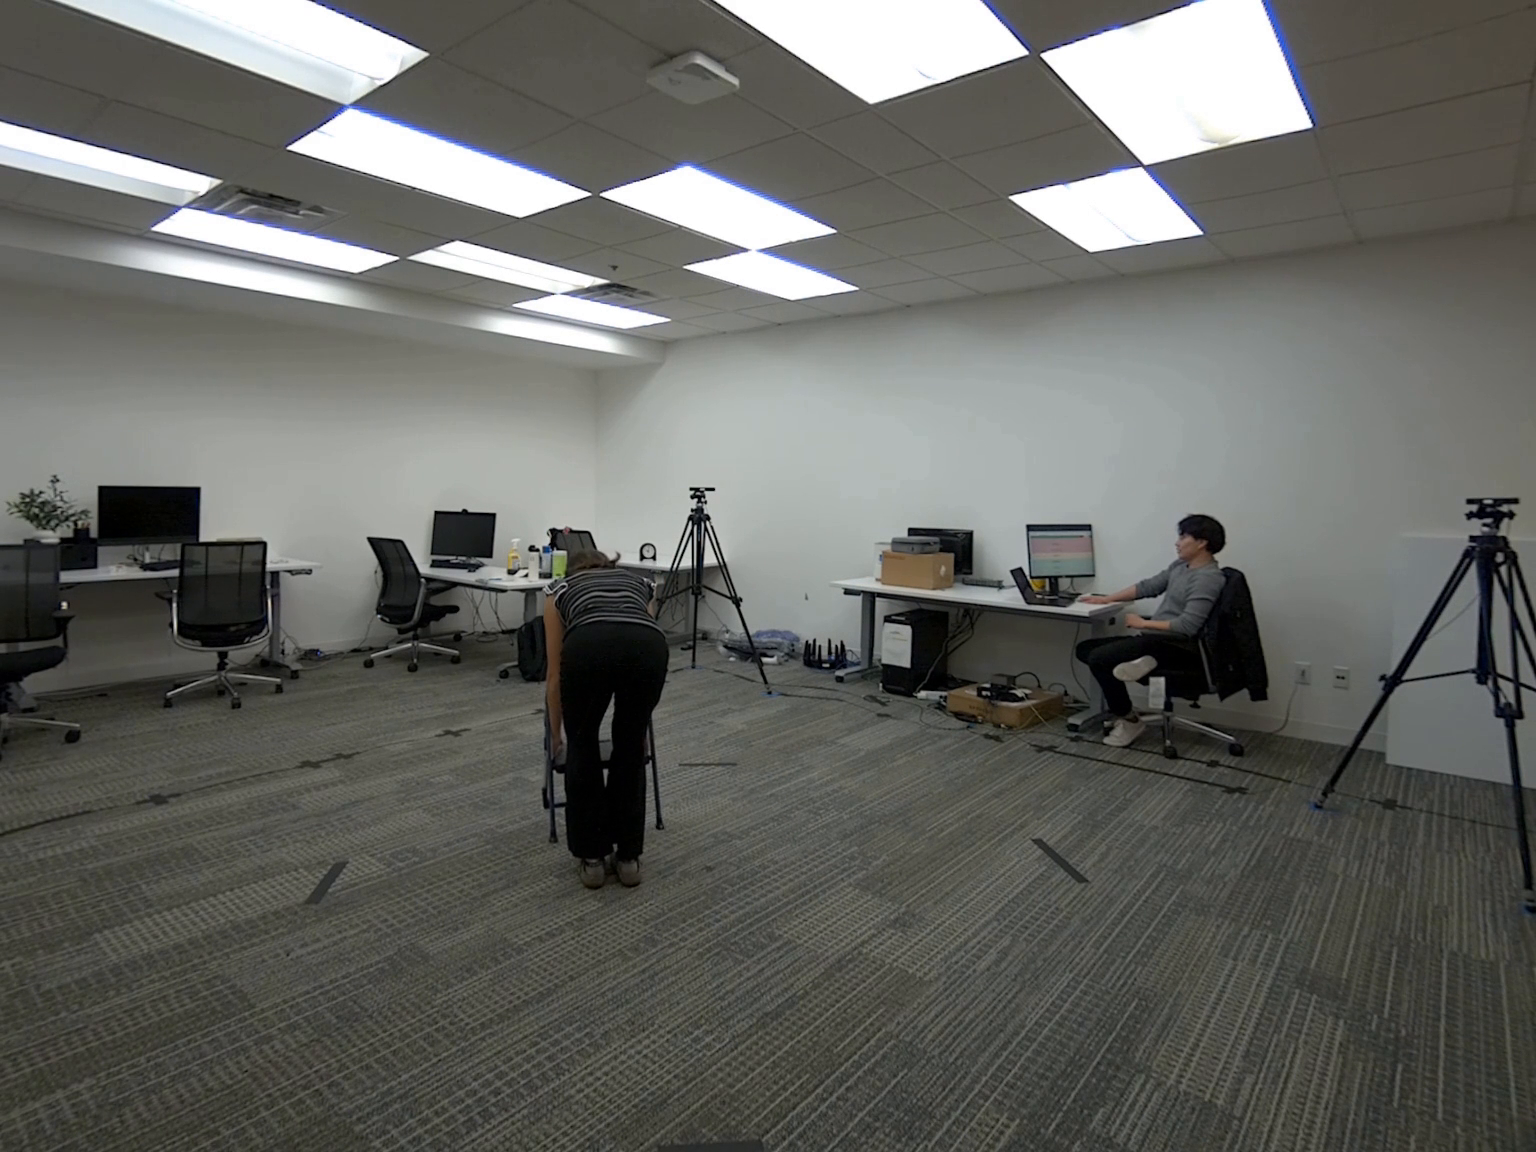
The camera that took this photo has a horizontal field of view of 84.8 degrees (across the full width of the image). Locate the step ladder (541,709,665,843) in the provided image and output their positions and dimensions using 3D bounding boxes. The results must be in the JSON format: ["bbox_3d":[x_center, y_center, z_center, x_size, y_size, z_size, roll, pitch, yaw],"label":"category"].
[{"bbox_3d":[-0.653,0.633,3.271,0.422,0.603,0.357,-1,5,-20],"label":"step ladder"}]
